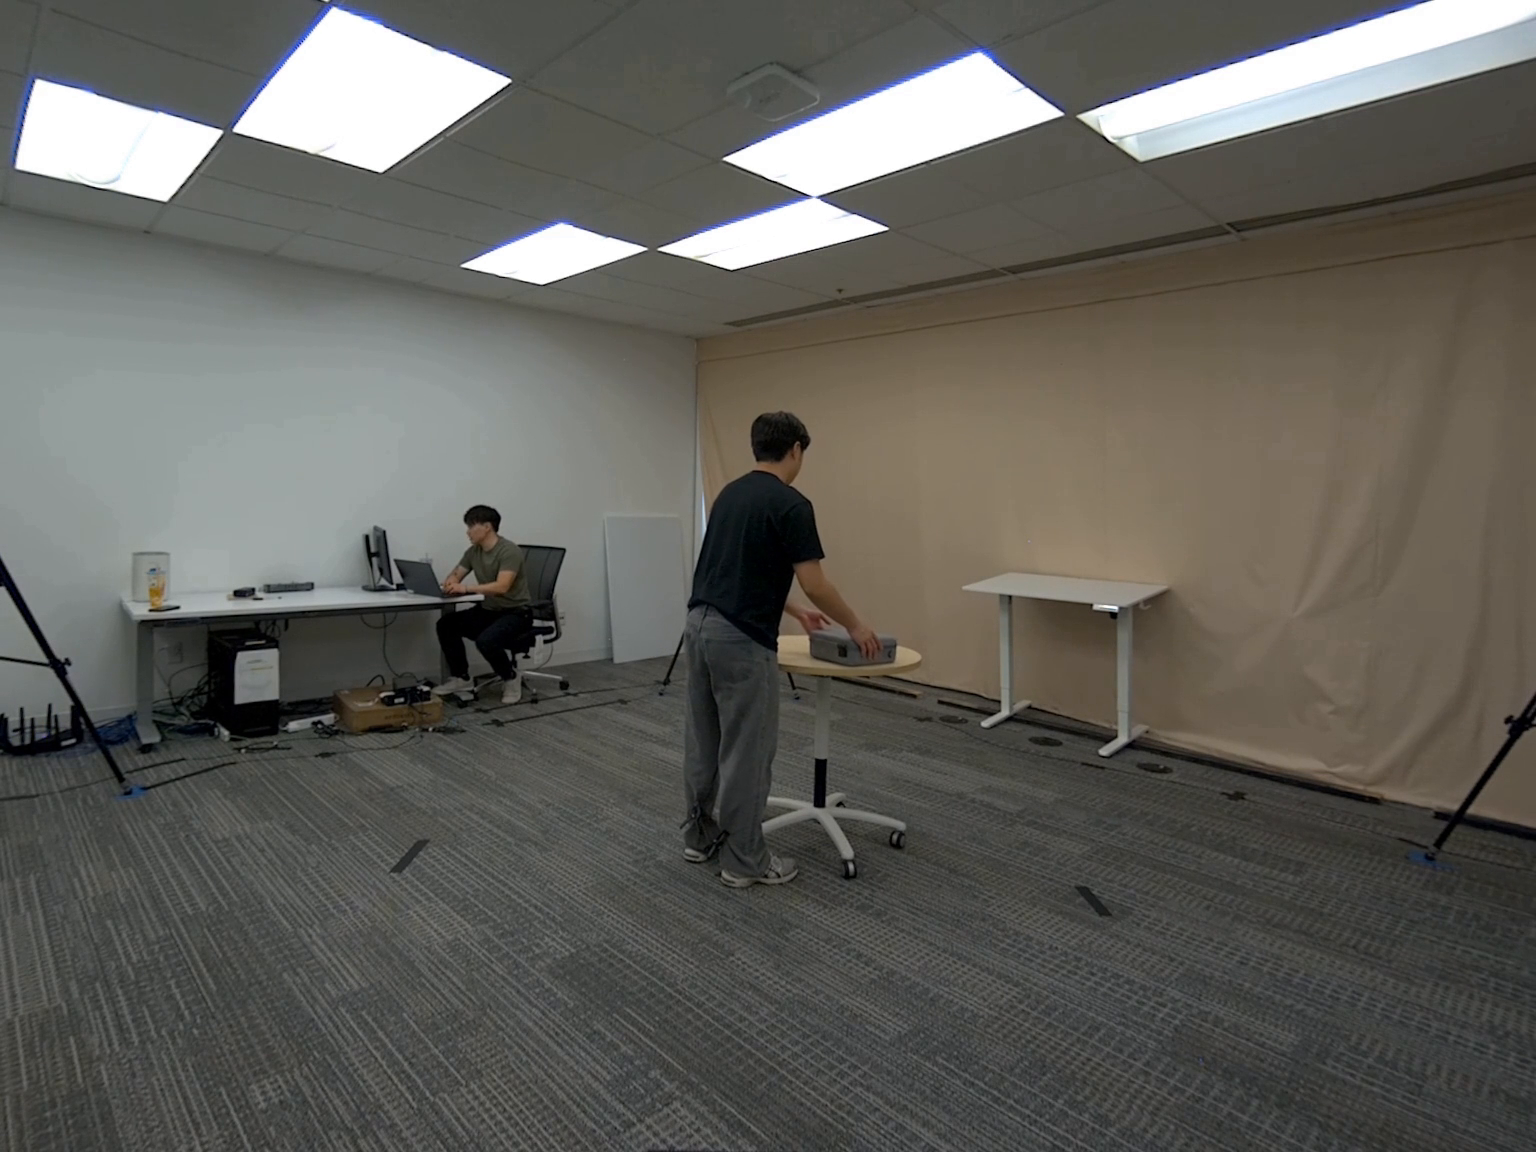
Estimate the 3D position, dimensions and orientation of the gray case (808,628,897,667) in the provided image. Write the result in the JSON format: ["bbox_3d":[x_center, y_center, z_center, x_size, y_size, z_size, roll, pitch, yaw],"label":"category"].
[{"bbox_3d":[0.328,0.271,3.238,0.281,0.103,0.269,0,4,-36],"label":"gray case"}]
